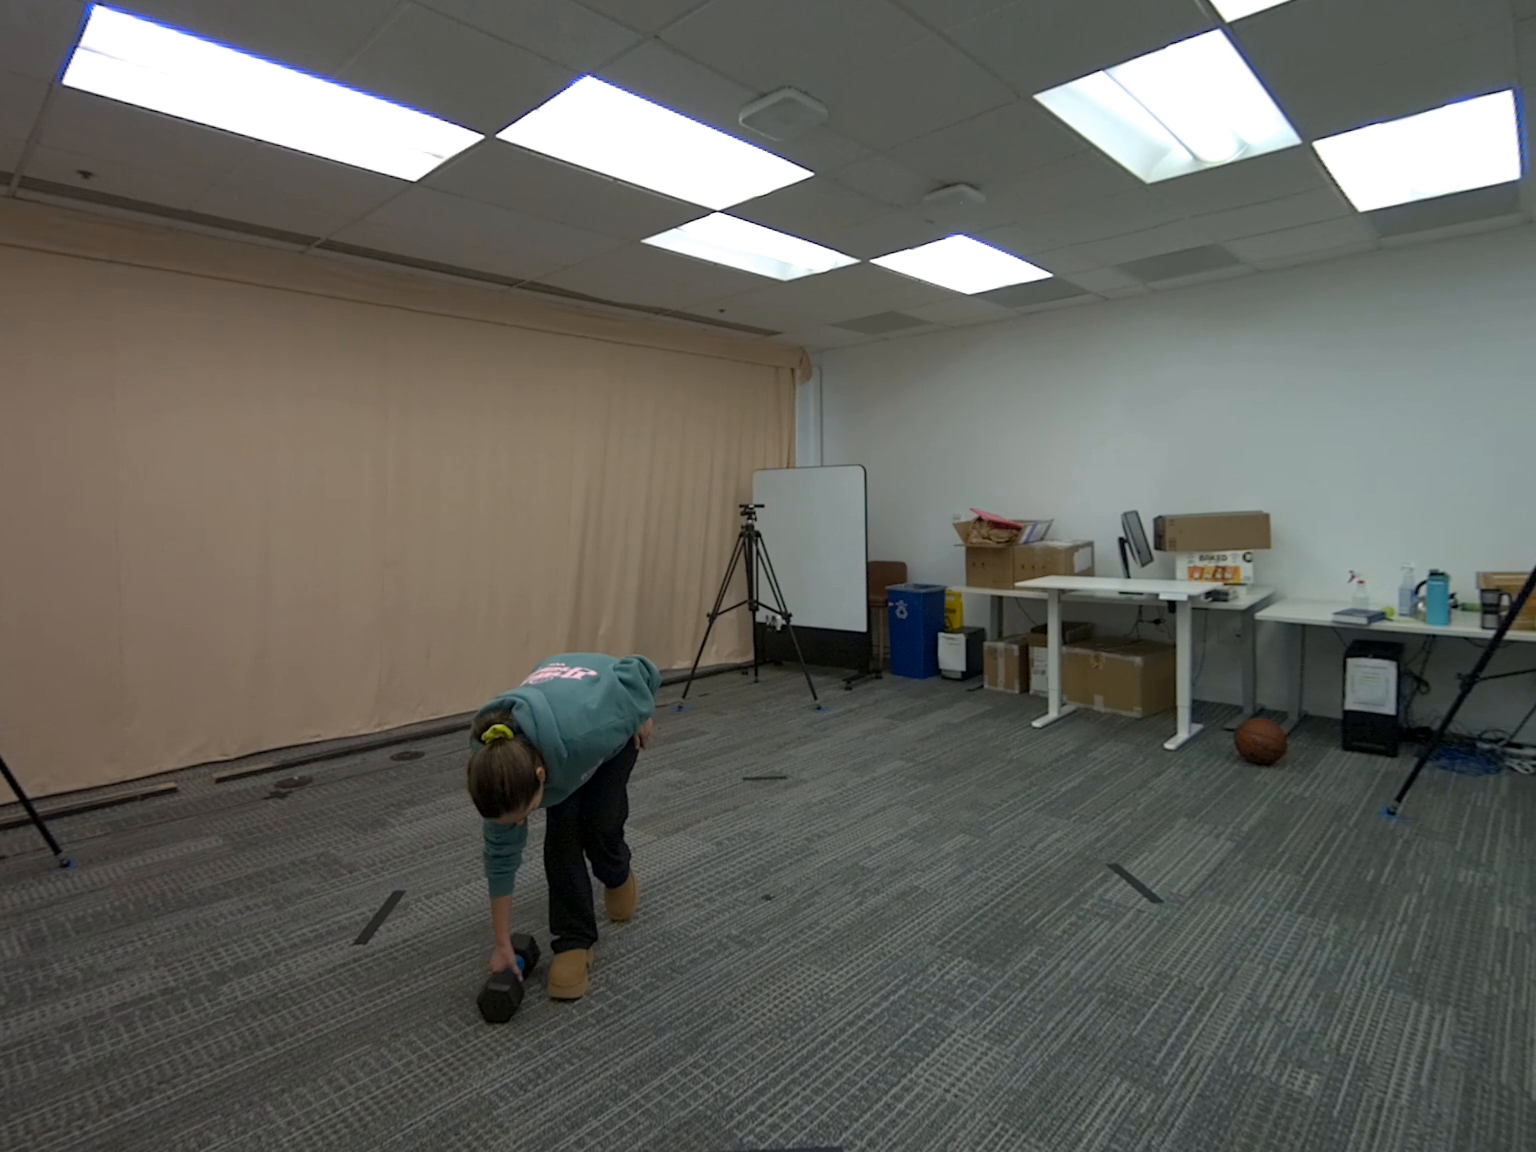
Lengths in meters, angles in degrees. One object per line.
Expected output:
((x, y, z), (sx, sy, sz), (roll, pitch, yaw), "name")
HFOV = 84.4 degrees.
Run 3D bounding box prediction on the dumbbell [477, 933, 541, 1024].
((-0.743, 1.150, 2.411), (0.109, 0.122, 0.294), (-24, 5, -1), "dumbbell")
